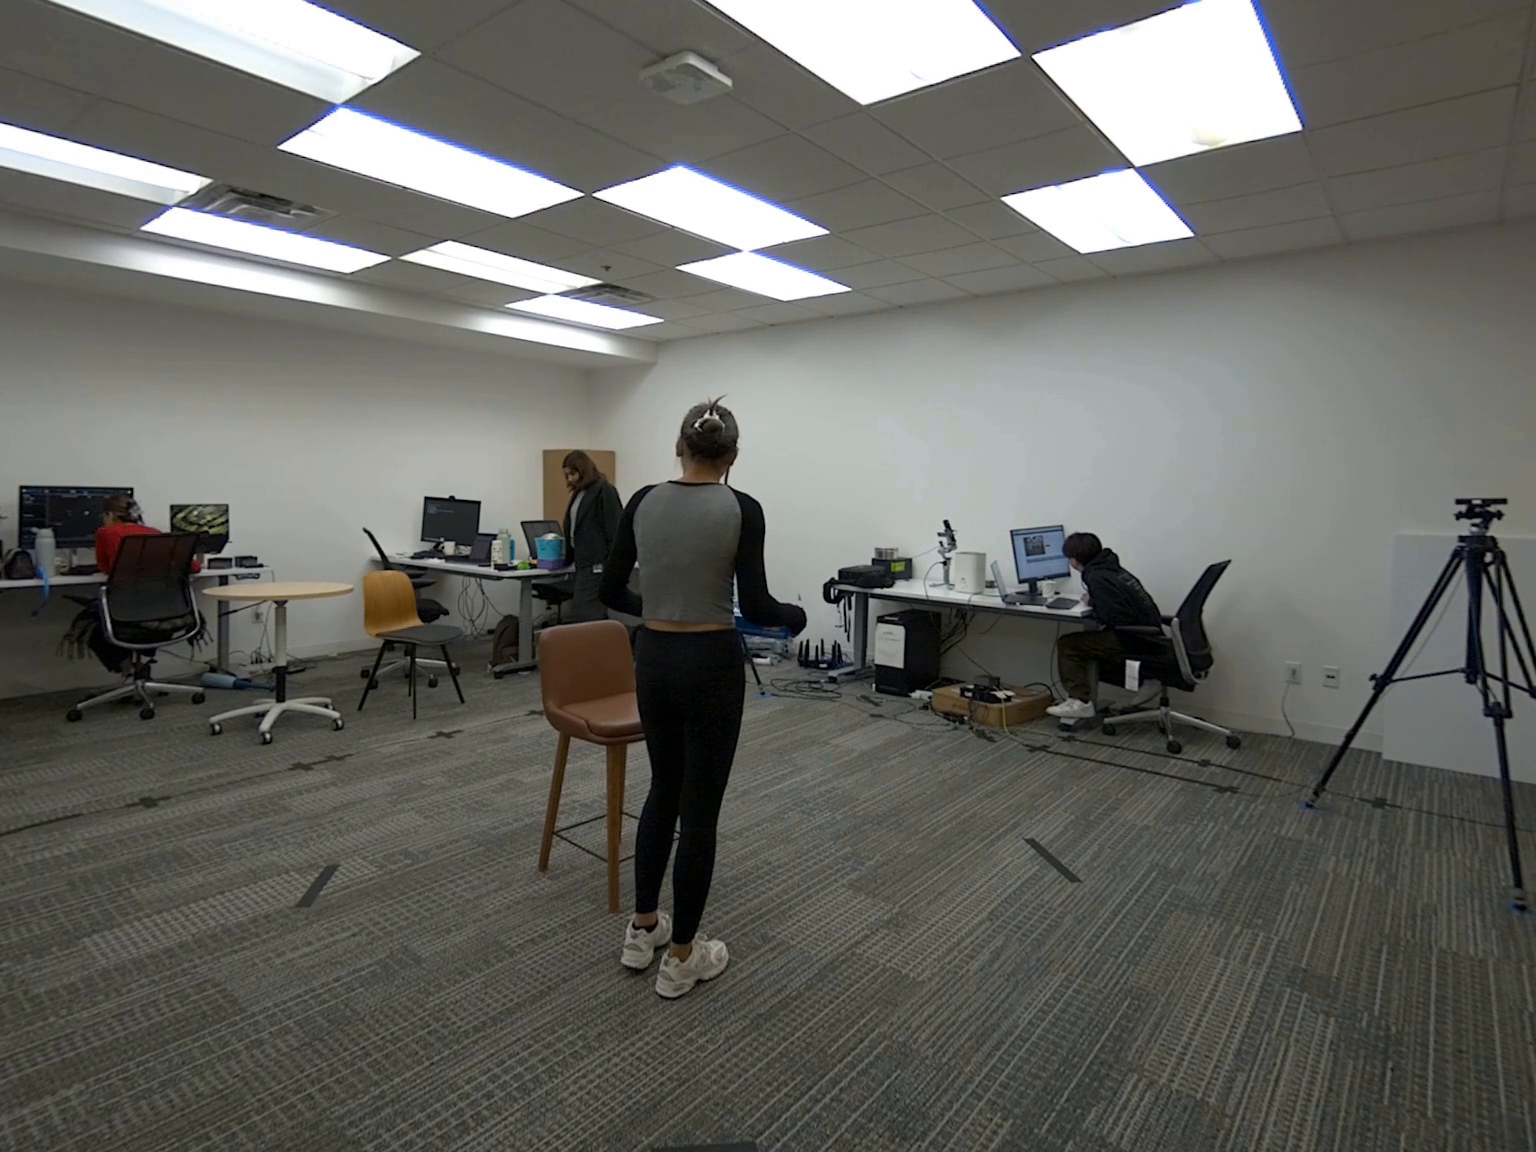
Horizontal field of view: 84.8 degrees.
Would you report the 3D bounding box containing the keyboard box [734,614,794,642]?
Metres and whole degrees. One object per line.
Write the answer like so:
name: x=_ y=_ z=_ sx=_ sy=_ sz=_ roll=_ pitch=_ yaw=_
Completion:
keyboard box: x=-0.135 y=0.120 z=2.634 sx=0.448 sy=0.058 sz=0.173 roll=6 pitch=13 yaw=23
